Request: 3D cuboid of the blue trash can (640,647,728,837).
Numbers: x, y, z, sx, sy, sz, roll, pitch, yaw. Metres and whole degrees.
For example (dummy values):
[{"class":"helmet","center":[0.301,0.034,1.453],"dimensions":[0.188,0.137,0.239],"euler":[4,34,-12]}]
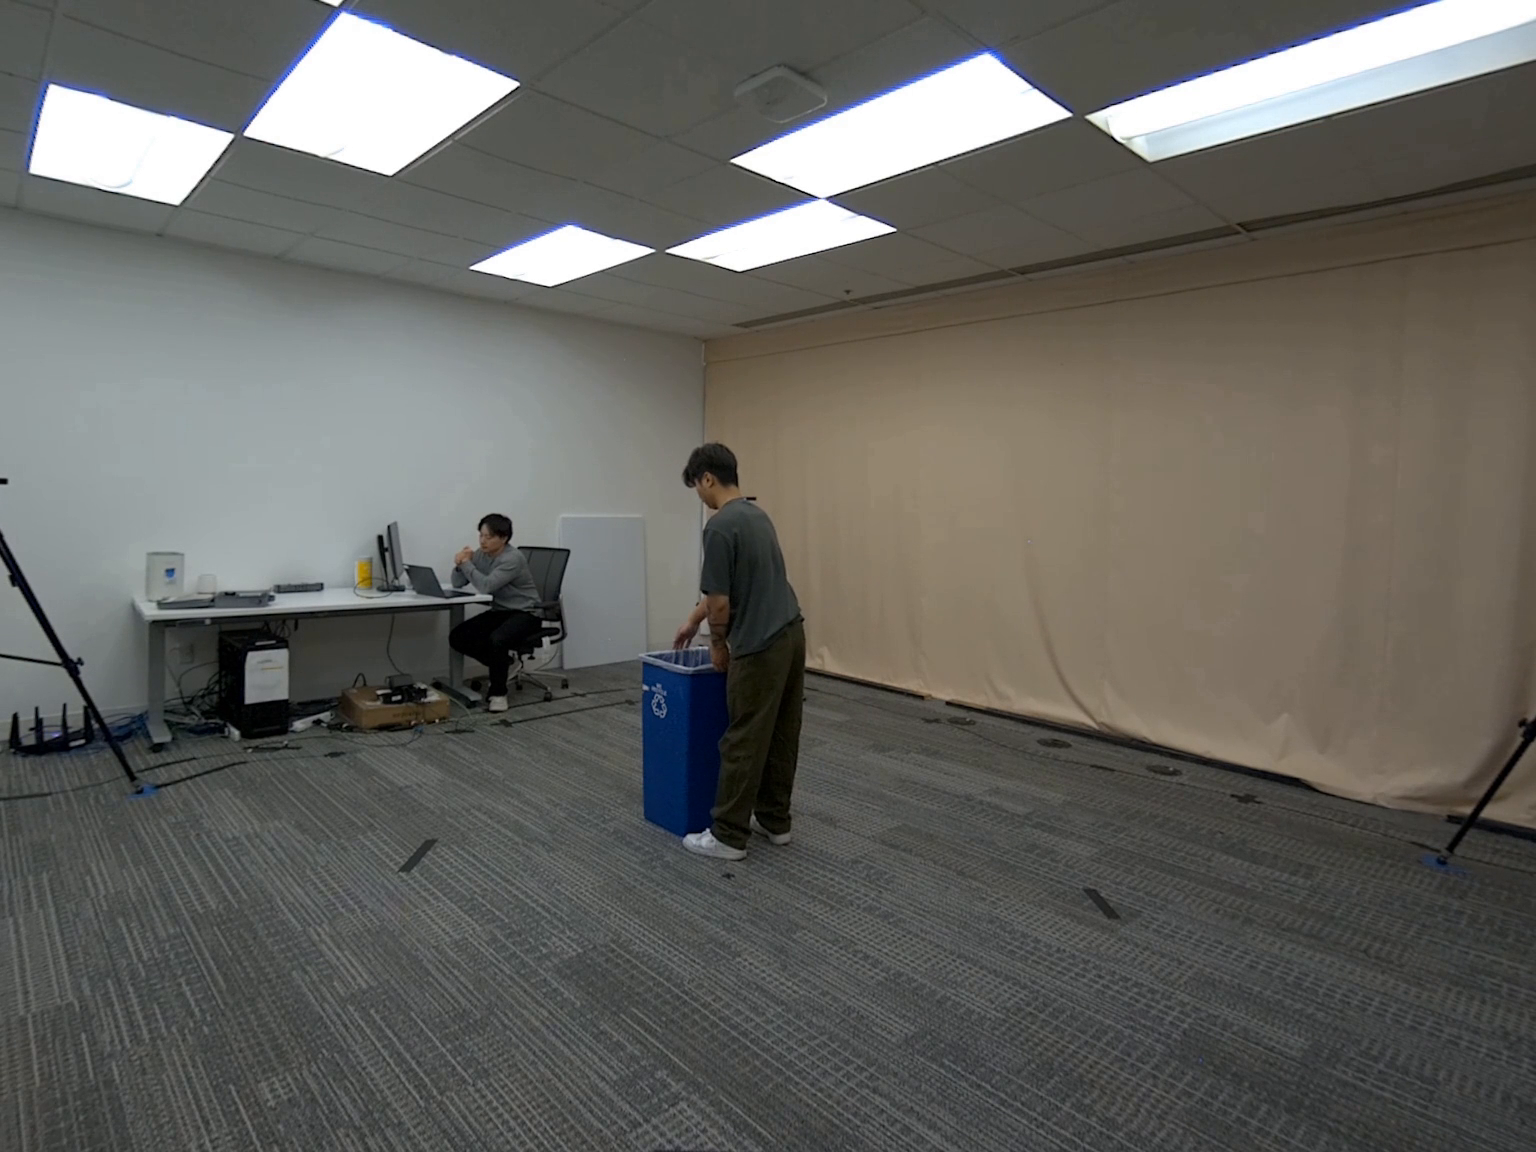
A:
[{"class":"blue trash can","center":[-0.321,0.699,3.617],"dimensions":[0.369,0.712,0.383],"euler":[-2,4,-43]}]
